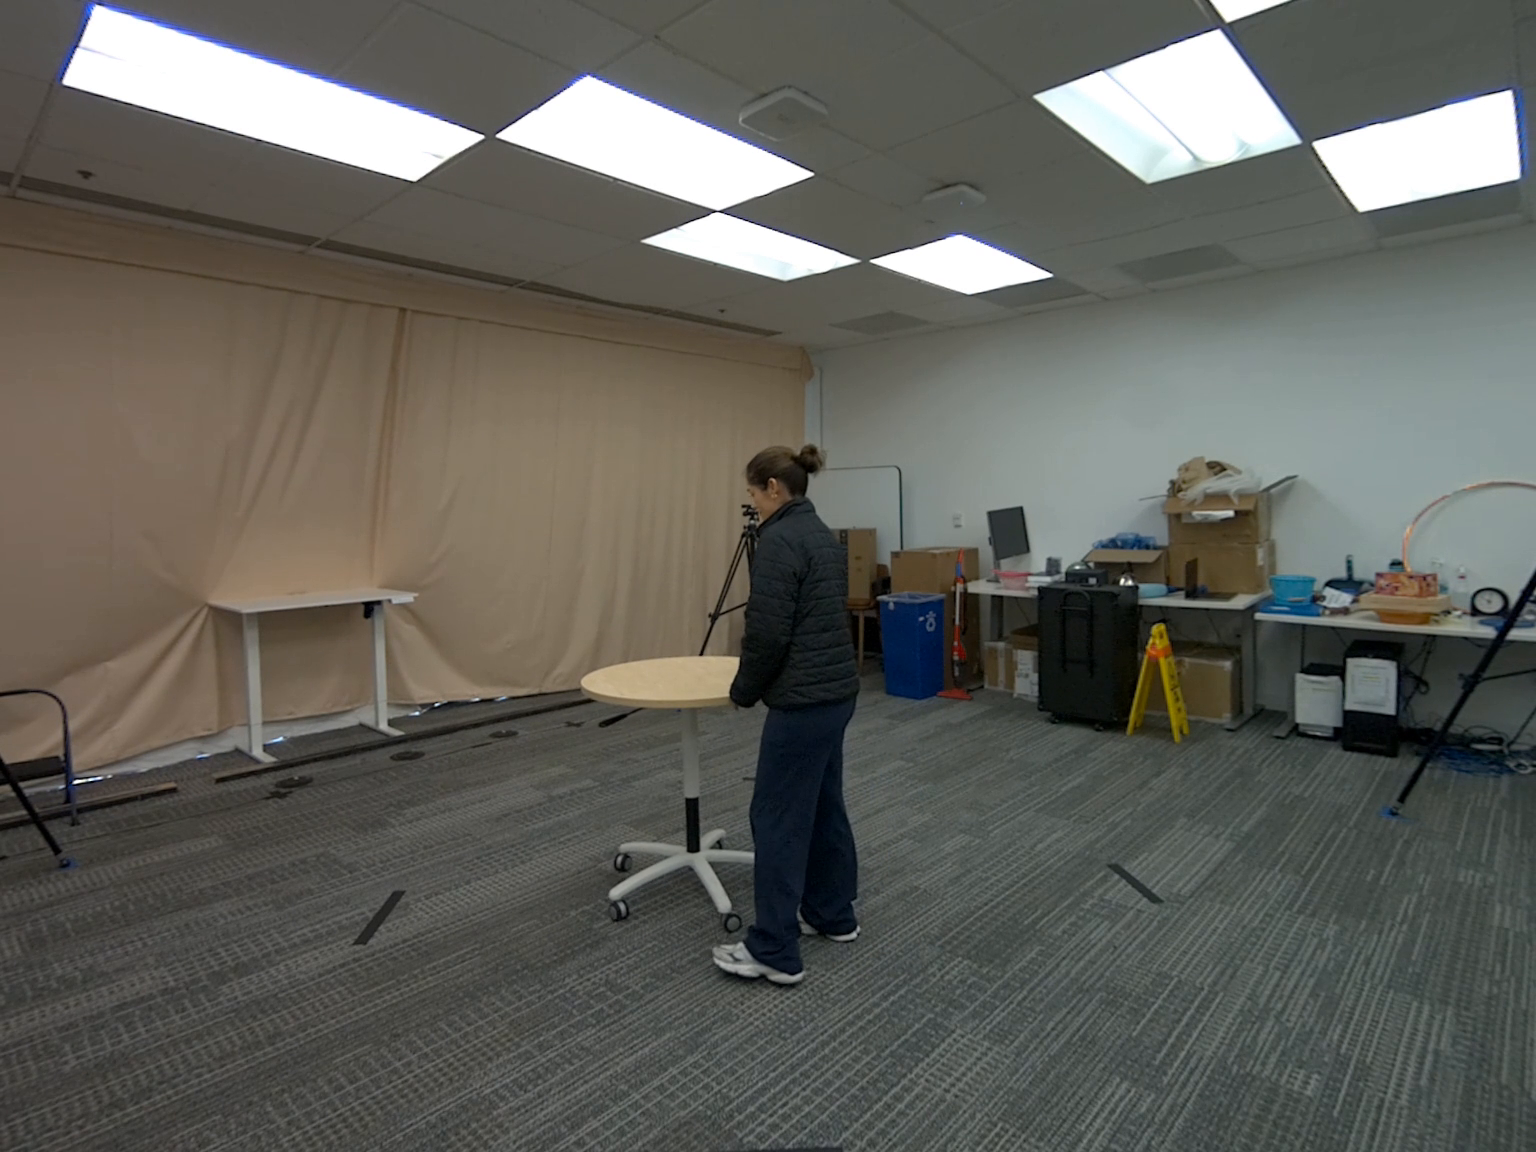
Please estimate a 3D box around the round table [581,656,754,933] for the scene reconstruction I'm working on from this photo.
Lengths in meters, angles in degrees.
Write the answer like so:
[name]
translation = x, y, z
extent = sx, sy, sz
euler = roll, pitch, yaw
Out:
[round table]
translation = -0.275, 0.745, 3.061
extent = 0.784, 0.785, 0.788
euler = -1, 4, -2
